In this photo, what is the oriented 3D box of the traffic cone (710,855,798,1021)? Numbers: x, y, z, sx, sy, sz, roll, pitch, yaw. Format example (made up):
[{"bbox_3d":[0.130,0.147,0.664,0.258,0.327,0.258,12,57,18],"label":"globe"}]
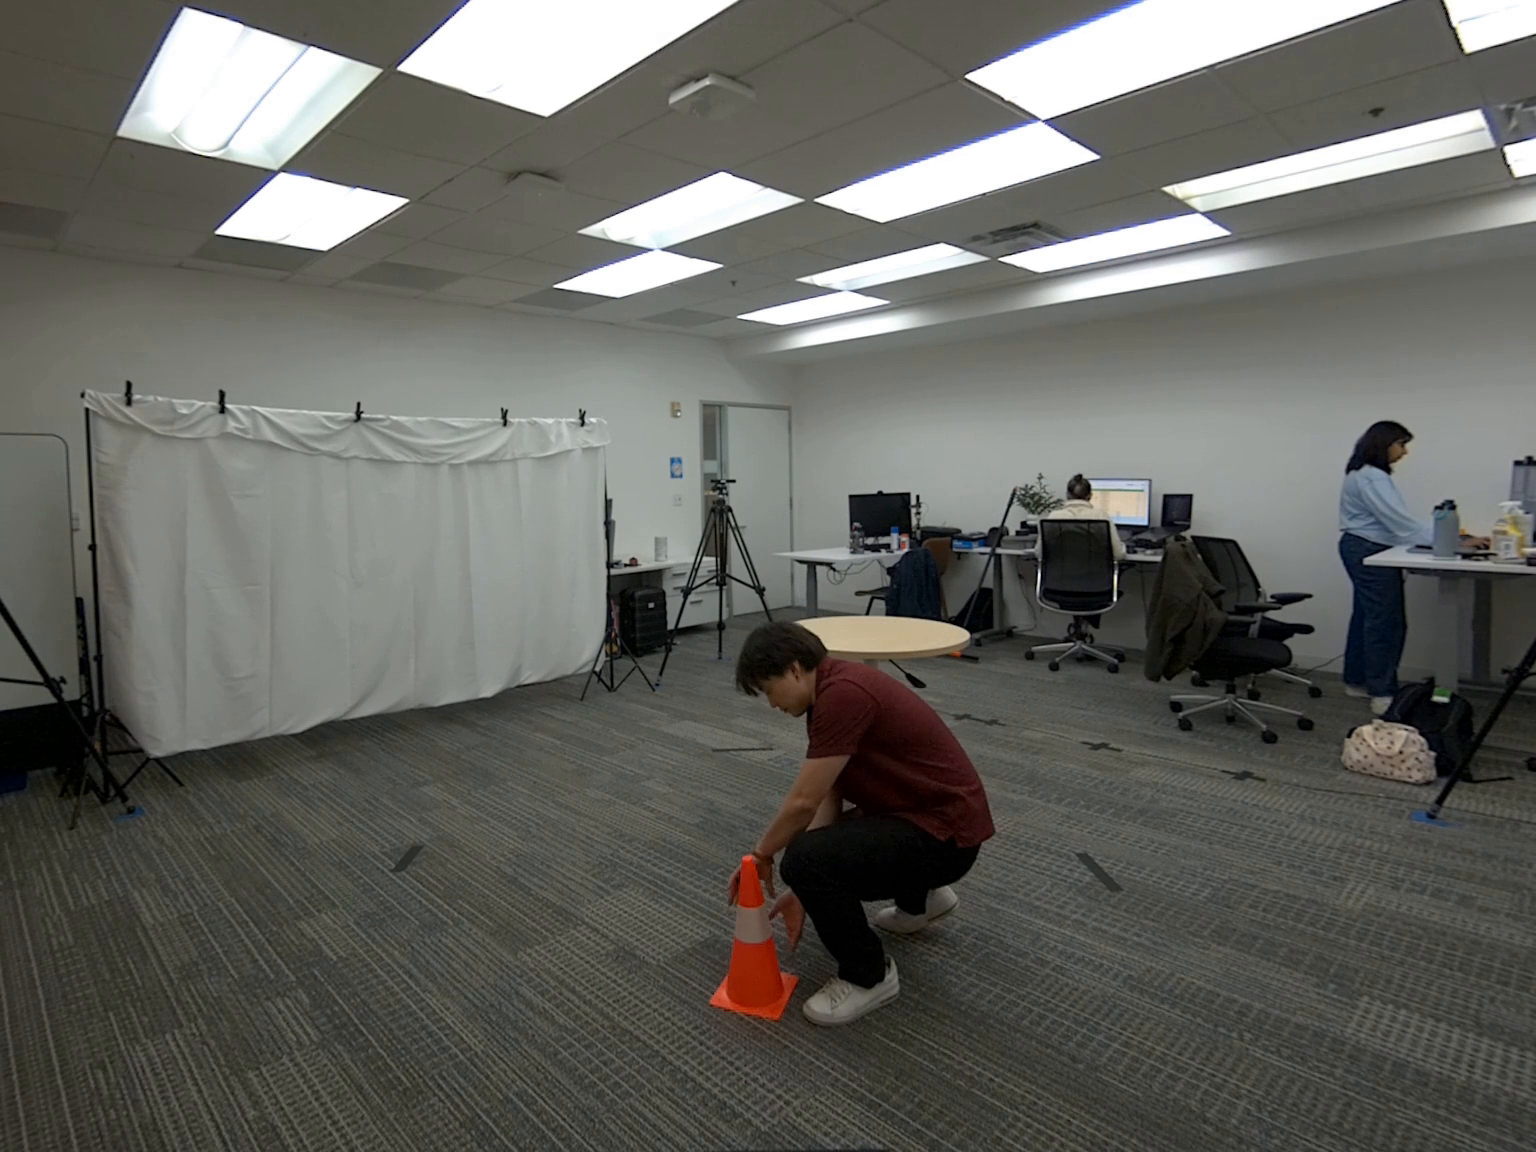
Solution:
[{"bbox_3d":[-0.028,0.956,2.313,0.209,0.381,0.201,1,8,19],"label":"traffic cone"}]
